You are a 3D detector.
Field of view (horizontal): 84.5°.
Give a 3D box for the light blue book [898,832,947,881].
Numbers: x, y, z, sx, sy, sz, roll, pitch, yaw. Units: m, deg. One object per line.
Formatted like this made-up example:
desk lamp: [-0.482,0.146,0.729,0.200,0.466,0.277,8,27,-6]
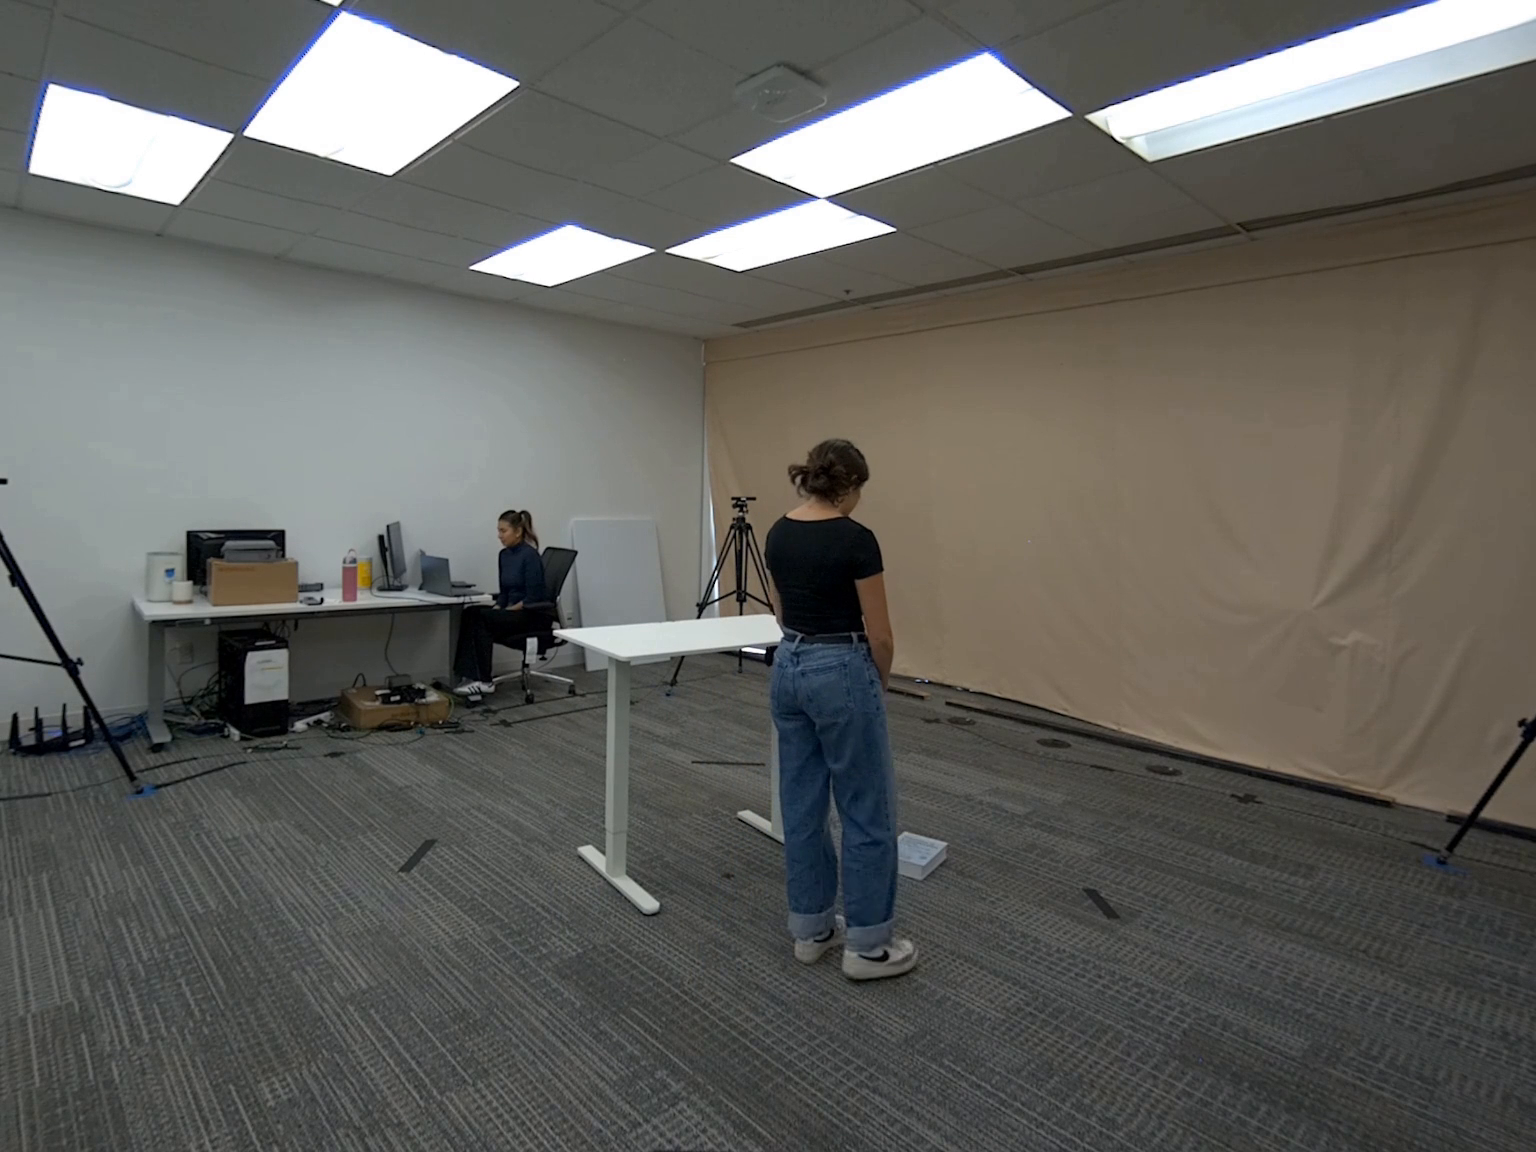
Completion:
light blue book: [0.553,1.079,3.259,0.196,0.059,0.256,5,6,32]
